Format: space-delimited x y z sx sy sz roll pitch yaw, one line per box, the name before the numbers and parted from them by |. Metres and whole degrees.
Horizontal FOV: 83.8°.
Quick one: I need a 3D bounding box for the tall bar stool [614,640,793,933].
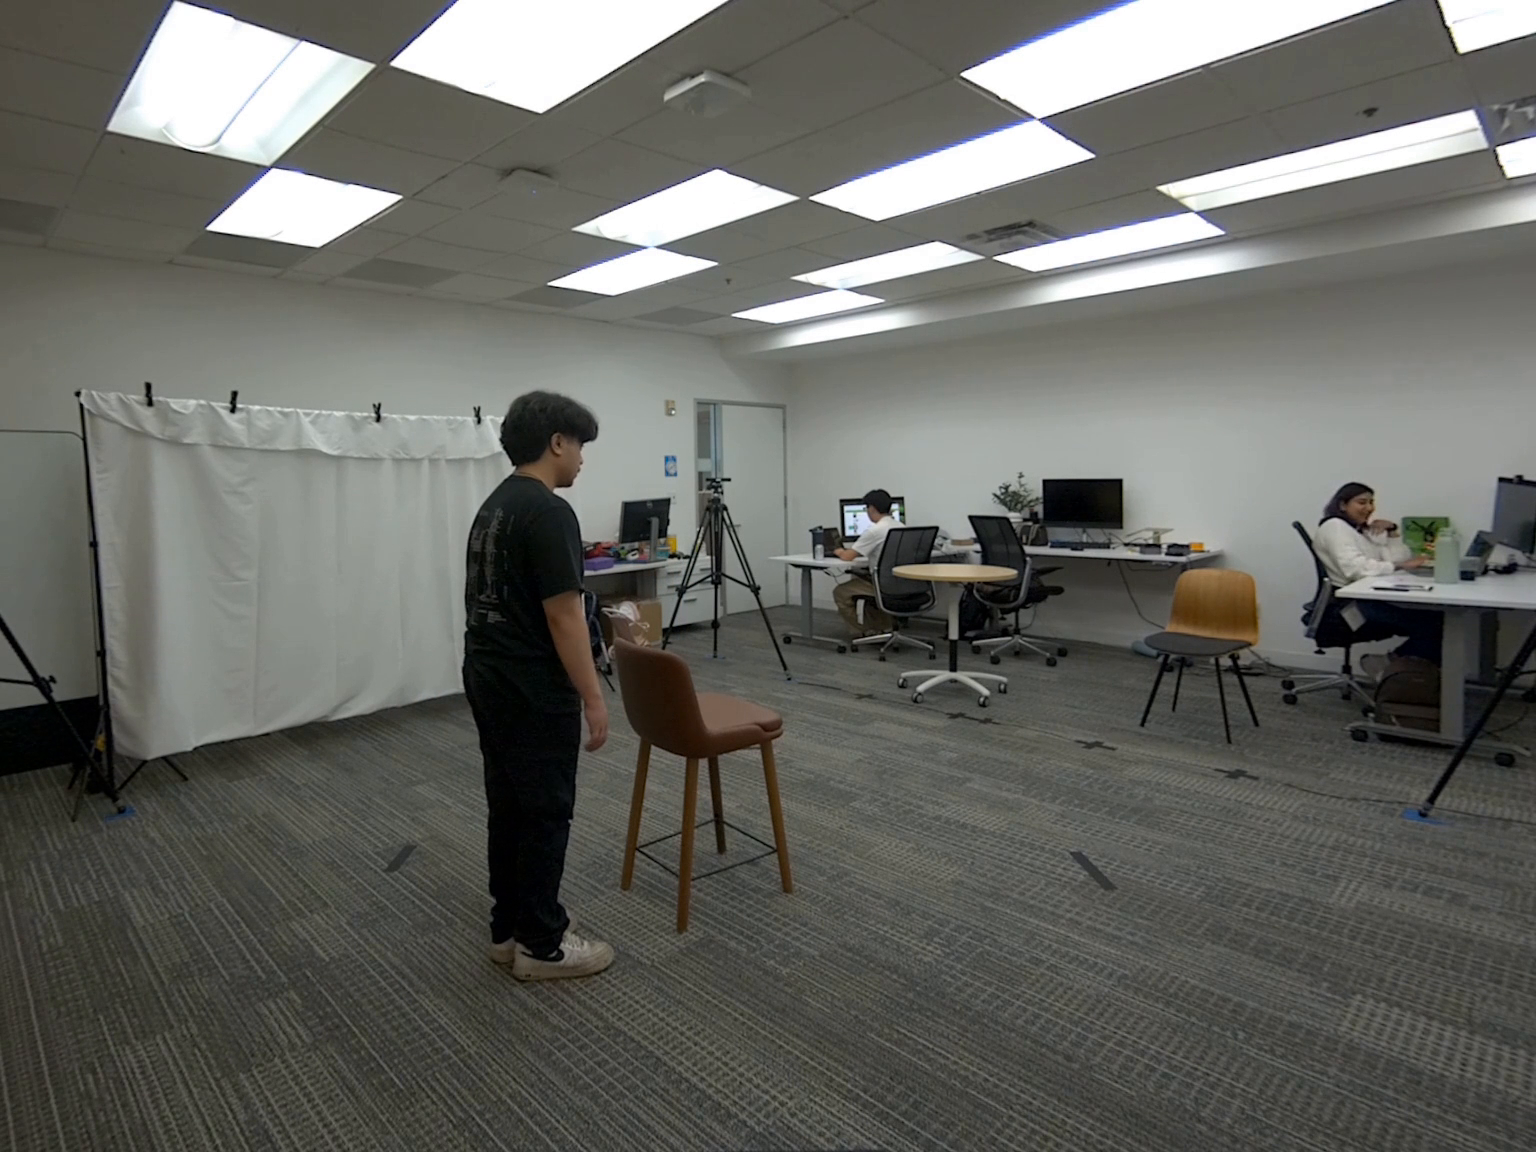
tall bar stool | -0.226 0.635 2.882 0.456 0.885 0.470 -7 7 -37
